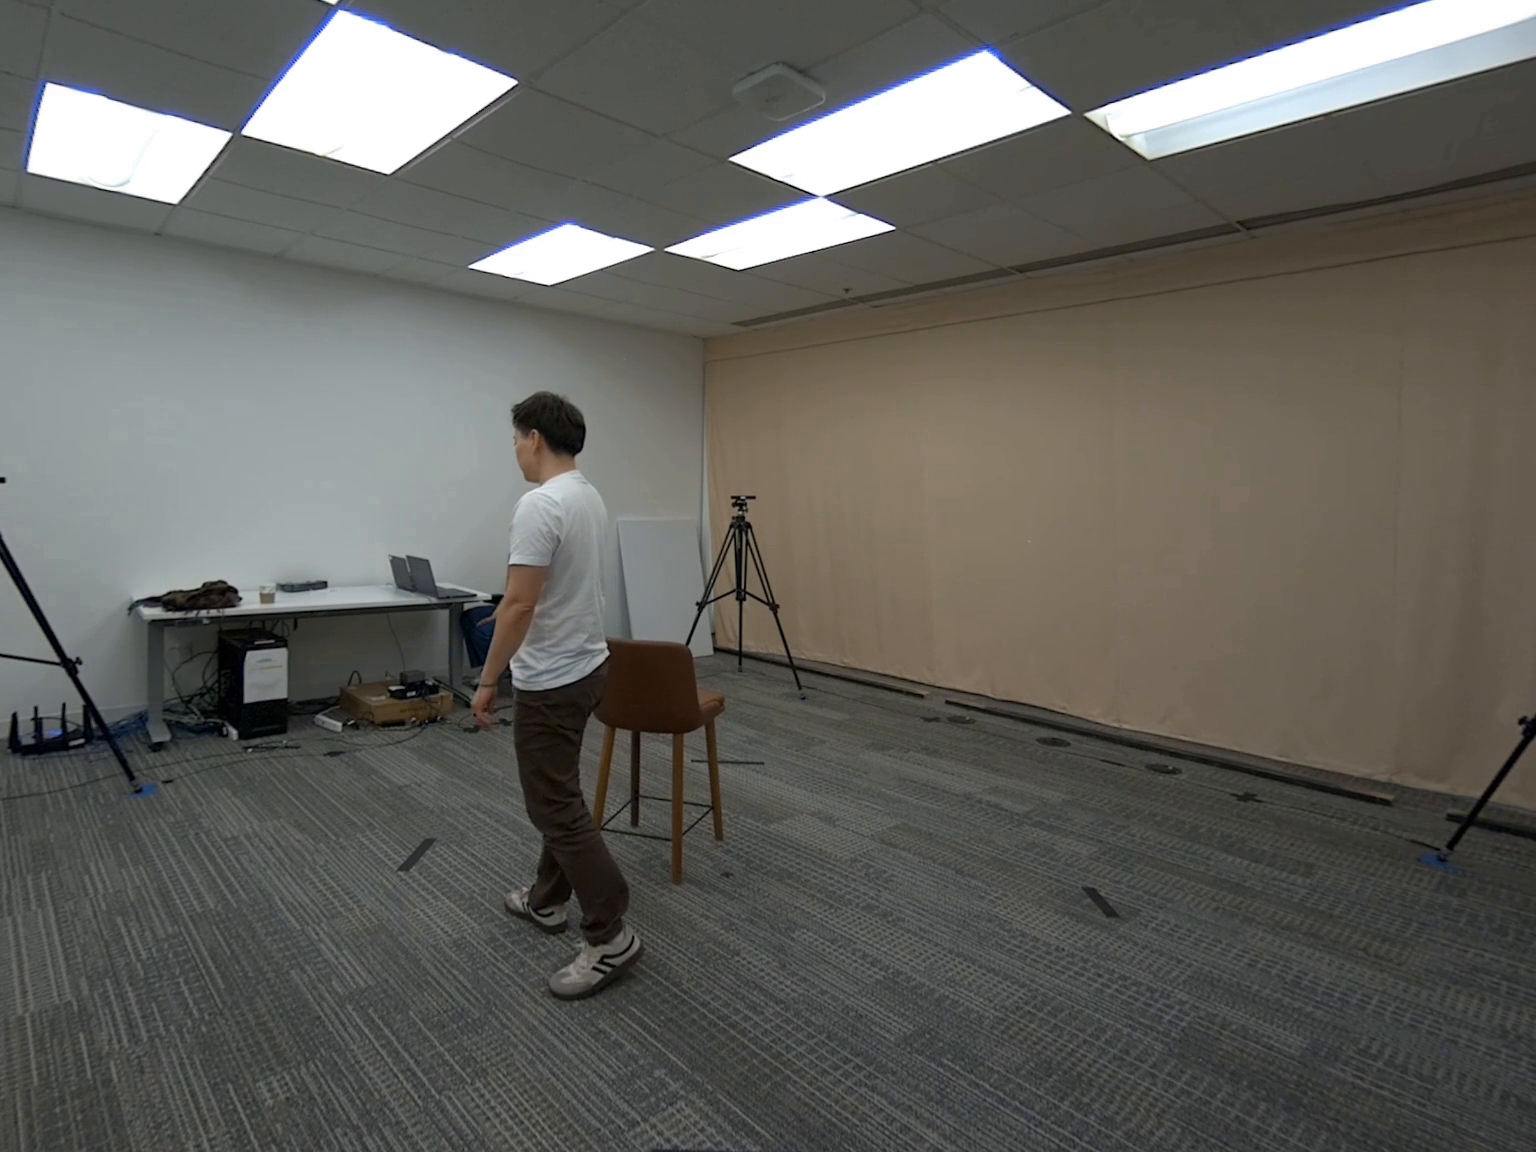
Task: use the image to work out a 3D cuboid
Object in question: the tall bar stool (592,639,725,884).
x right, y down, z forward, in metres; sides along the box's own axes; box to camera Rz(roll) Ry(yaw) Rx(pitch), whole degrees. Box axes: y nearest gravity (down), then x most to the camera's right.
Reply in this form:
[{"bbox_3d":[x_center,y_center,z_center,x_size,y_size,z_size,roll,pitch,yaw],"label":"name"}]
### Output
[{"bbox_3d":[-0.438,0.648,3.255,0.463,0.887,0.462,2,5,19],"label":"tall bar stool"}]
